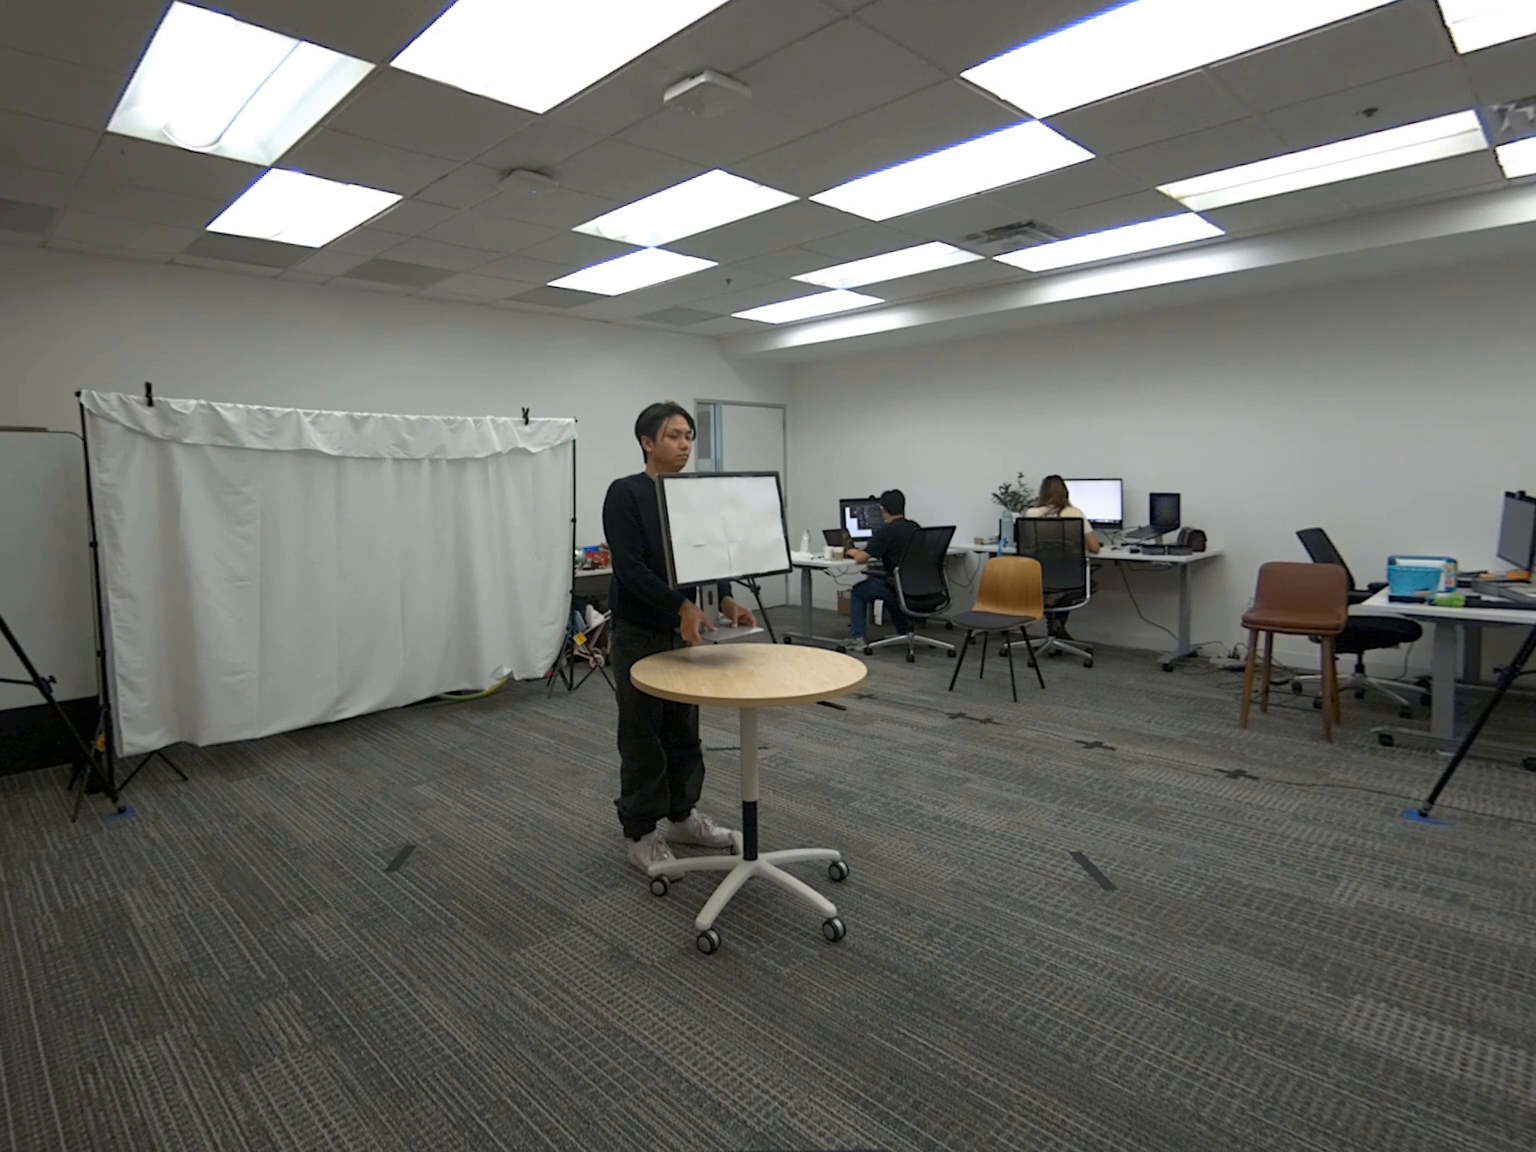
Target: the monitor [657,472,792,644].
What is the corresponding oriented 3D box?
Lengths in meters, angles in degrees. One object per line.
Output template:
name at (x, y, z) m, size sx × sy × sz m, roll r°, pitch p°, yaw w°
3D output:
monitor at (-0.159, -0.078, 2.863) m, size 0.193 × 0.519 × 0.525 m, roll 7°, pitch 9°, yaw 41°
